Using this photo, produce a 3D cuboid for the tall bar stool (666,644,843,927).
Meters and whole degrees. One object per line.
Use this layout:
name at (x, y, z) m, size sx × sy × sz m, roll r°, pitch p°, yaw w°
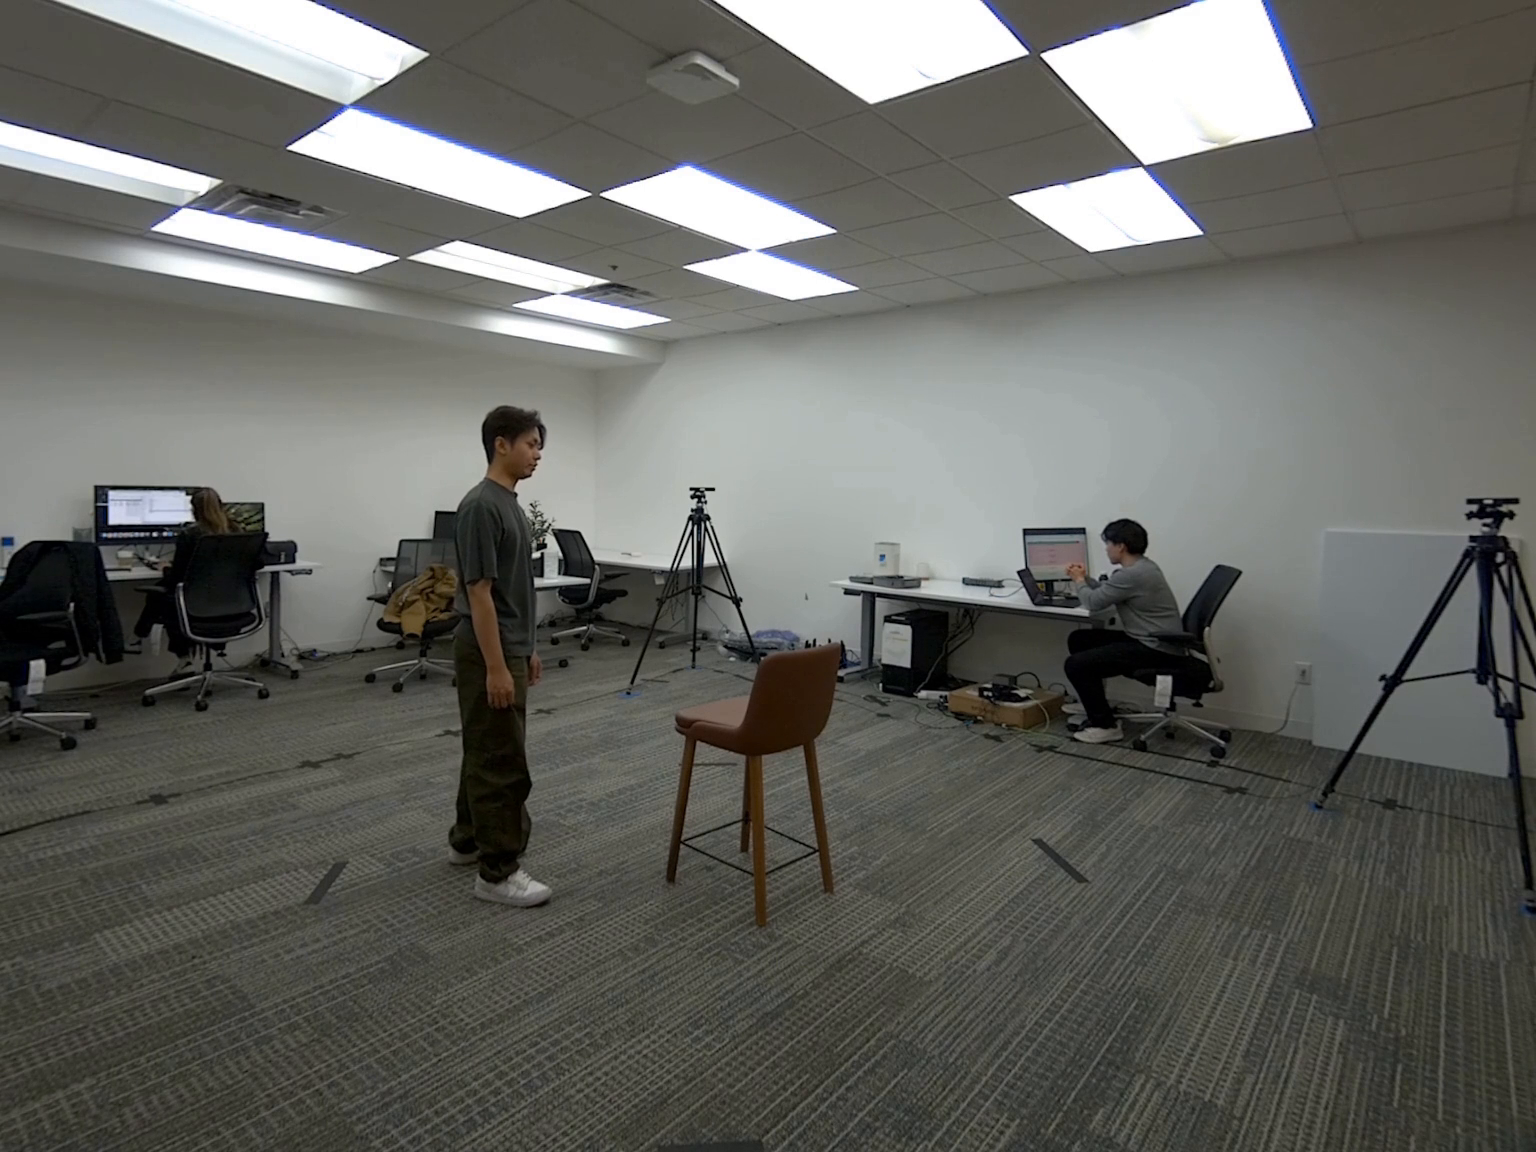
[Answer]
tall bar stool at (-0.055, 0.653, 2.956) m, size 0.484 × 0.886 × 0.442 m, roll 7°, pitch 6°, yaw 44°
